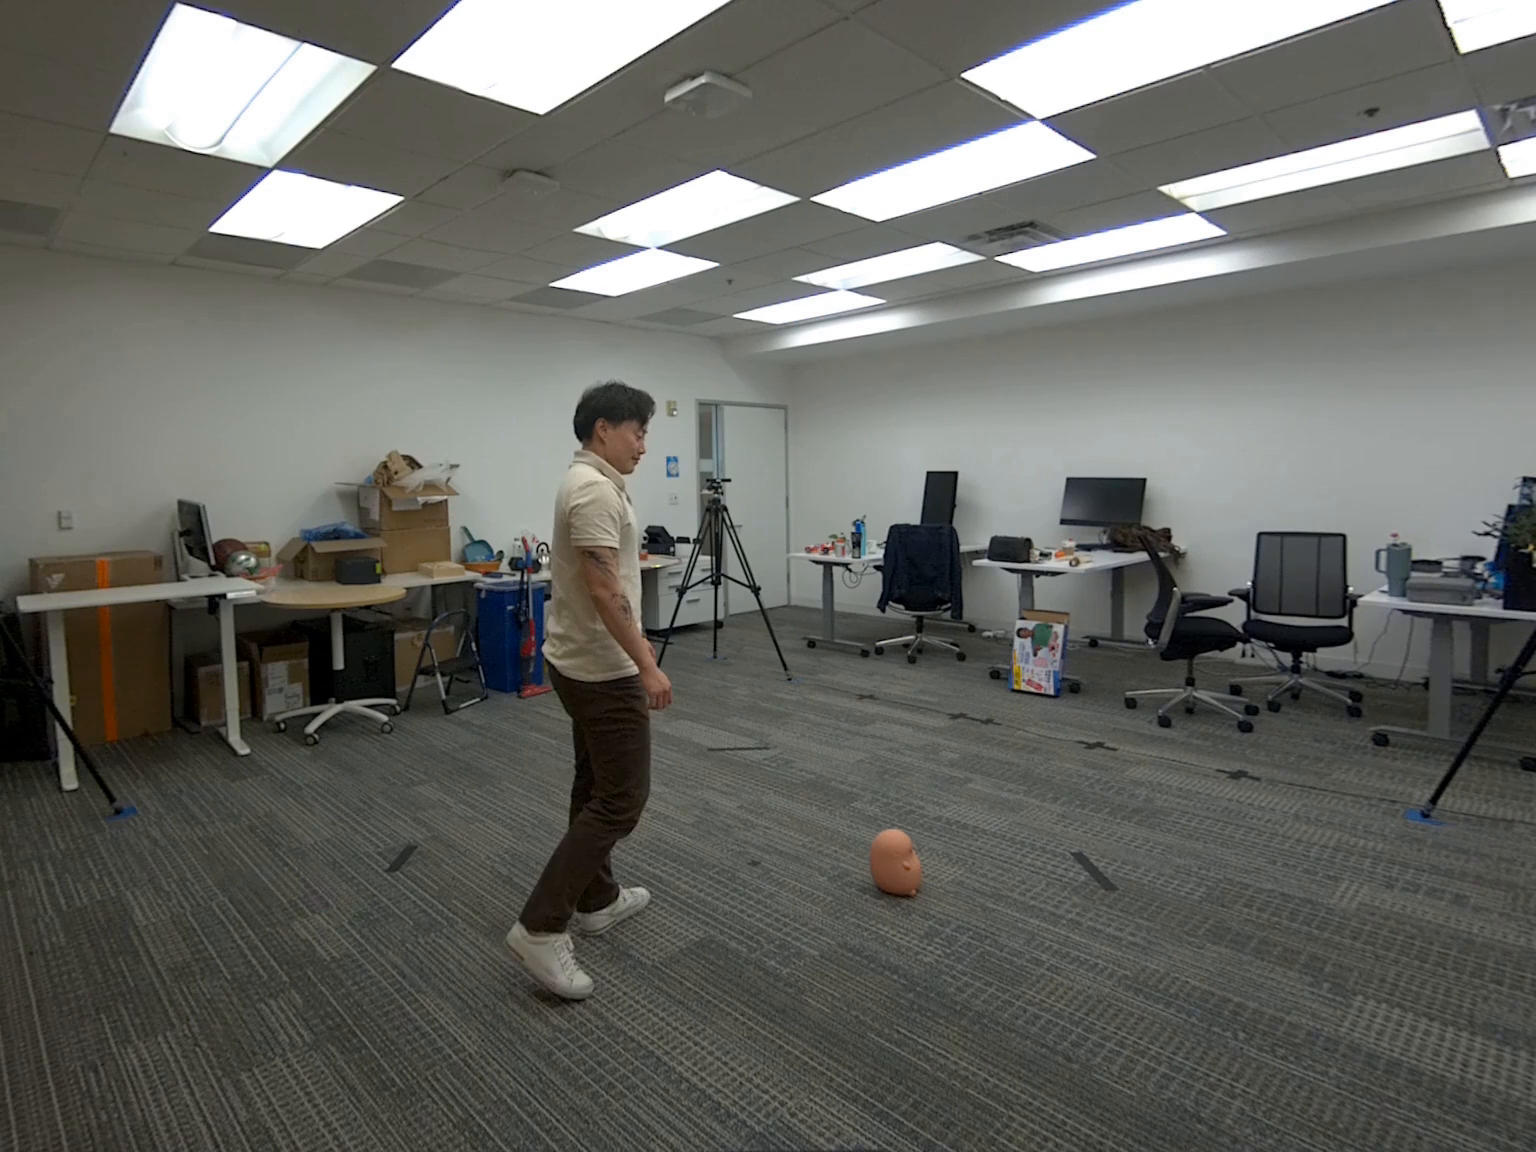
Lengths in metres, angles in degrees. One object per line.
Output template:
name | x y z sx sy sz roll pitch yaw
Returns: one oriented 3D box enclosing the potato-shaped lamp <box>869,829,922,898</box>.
potato-shaped lamp | 0.437 0.962 2.891 0.174 0.197 0.162 0 5 18
